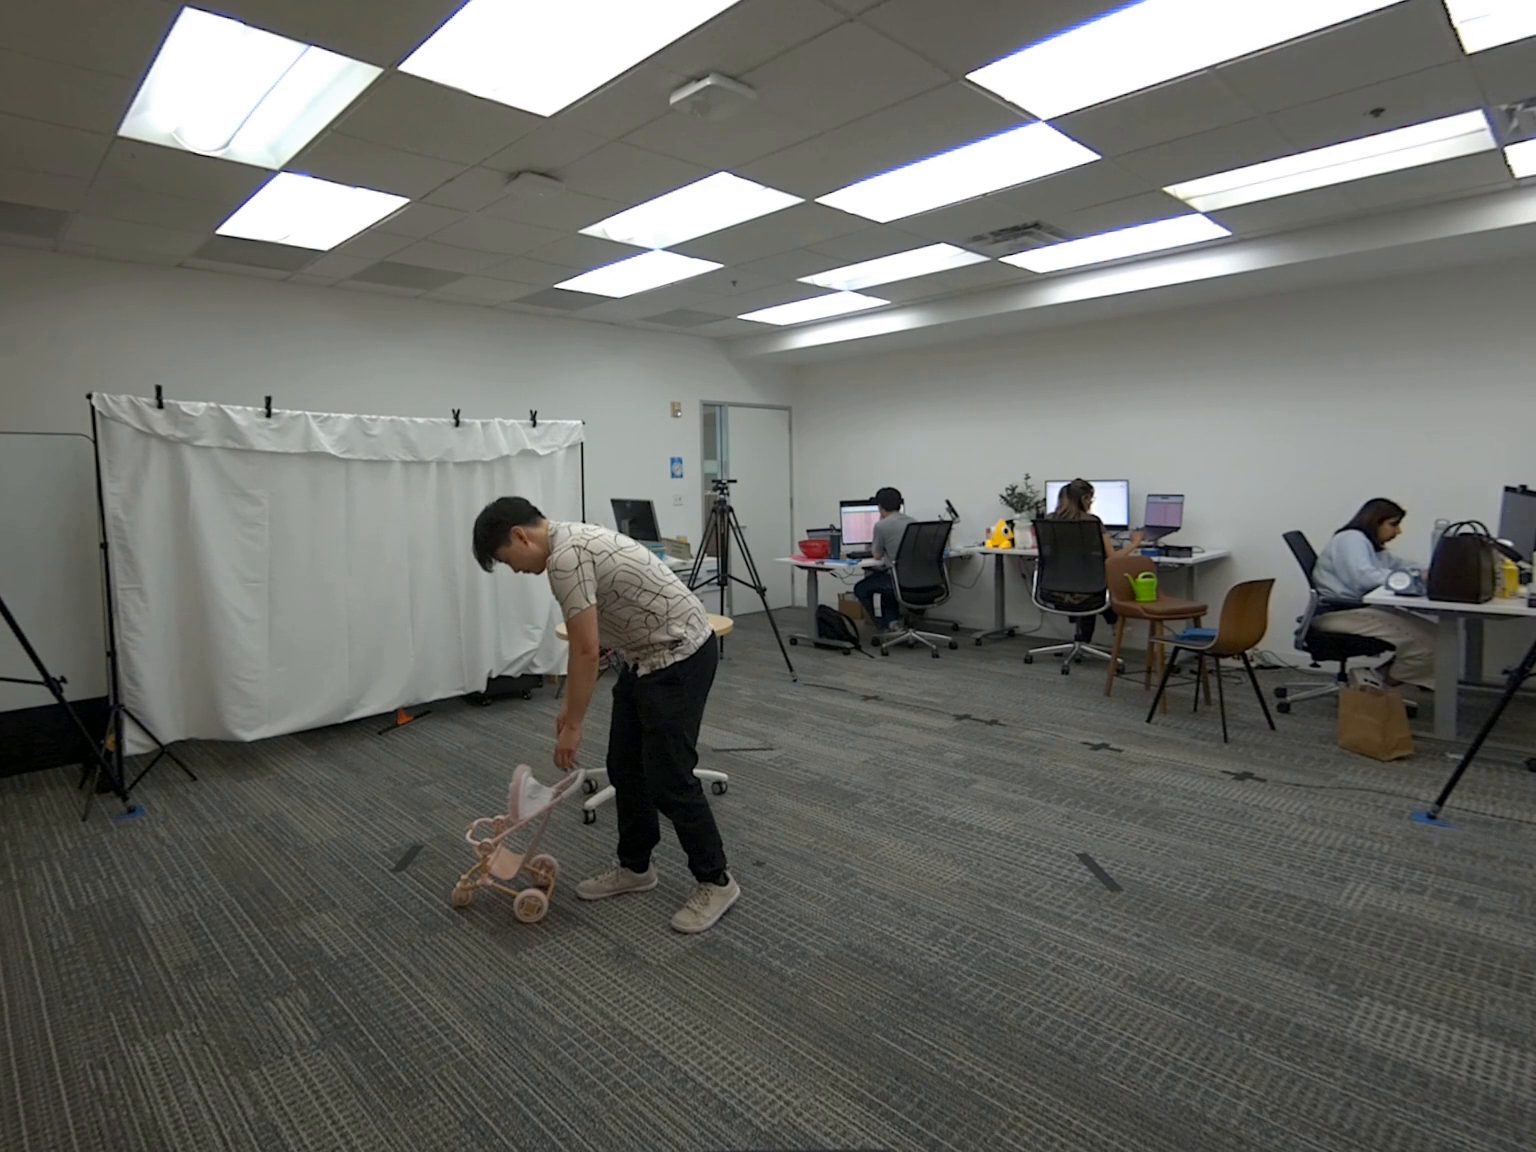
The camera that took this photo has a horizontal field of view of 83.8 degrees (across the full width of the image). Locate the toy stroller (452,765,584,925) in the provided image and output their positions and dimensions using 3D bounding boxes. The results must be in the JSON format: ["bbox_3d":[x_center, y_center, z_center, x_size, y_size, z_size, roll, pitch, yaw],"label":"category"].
[{"bbox_3d":[-0.833,0.872,2.833,0.342,0.533,0.282,14,4,0],"label":"toy stroller"}]
